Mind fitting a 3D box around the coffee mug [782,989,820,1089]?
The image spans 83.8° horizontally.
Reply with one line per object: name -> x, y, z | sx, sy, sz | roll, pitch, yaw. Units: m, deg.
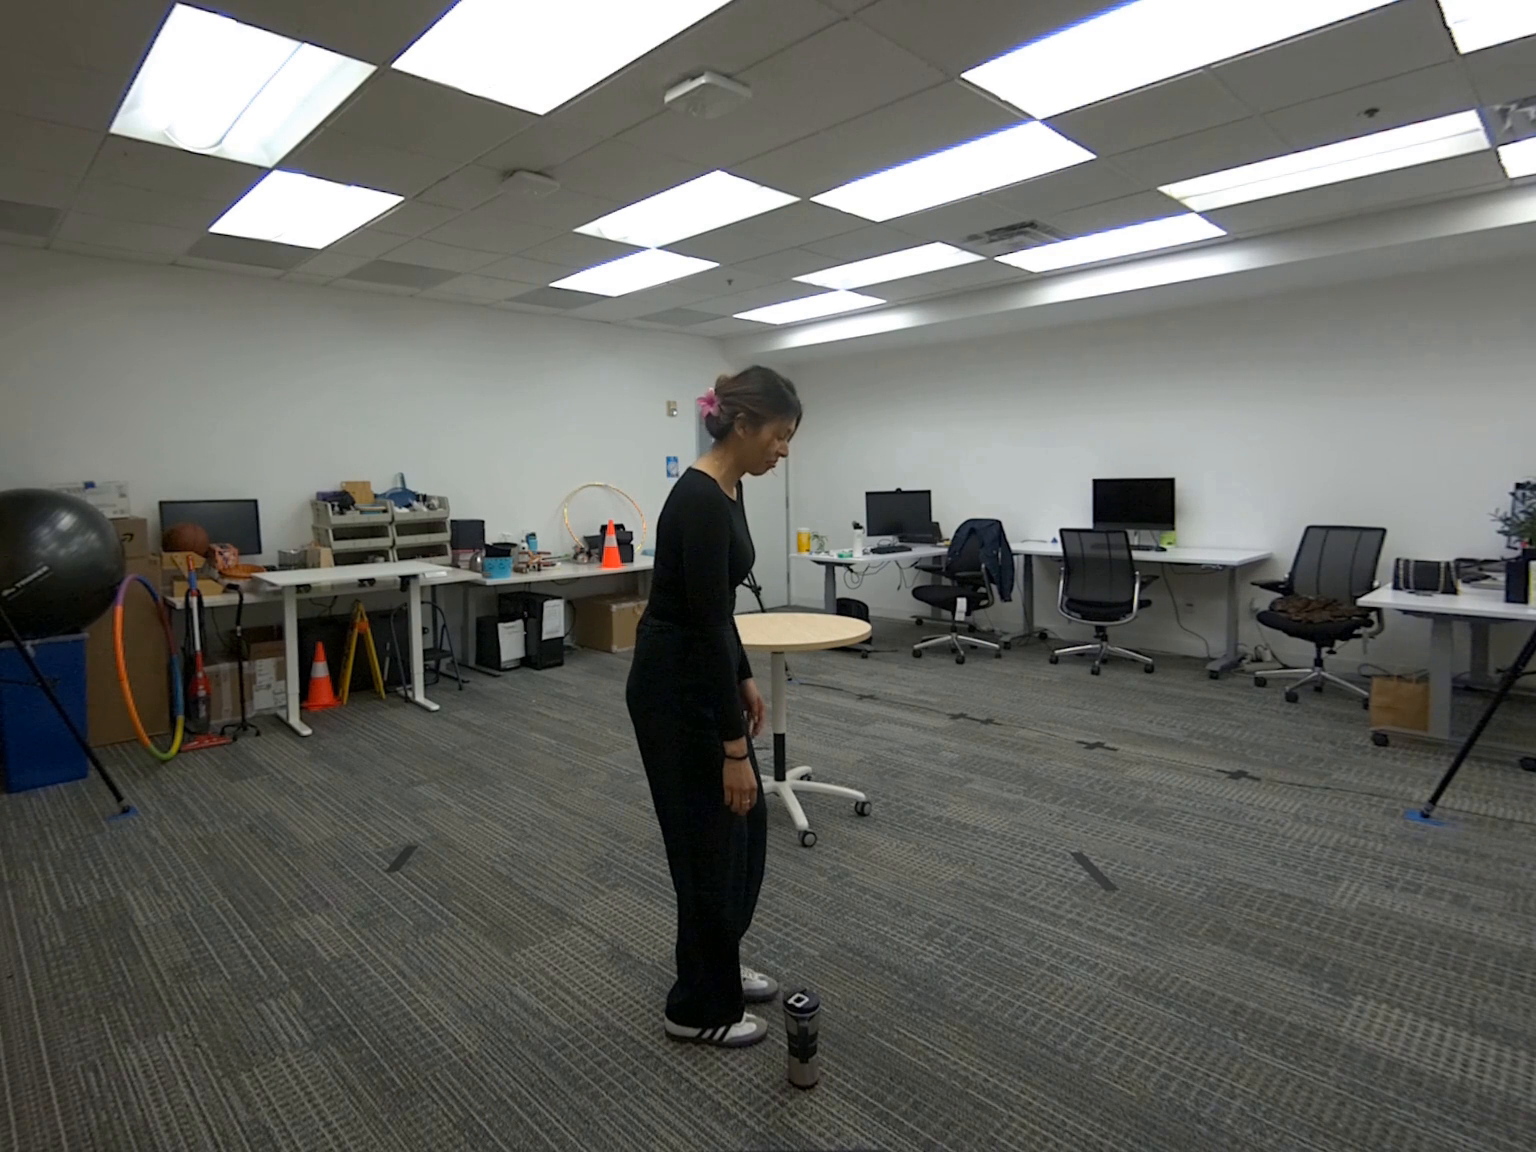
coffee mug -> 0.061, 1.073, 1.962 | 0.090, 0.202, 0.119 | 5, 4, 22
